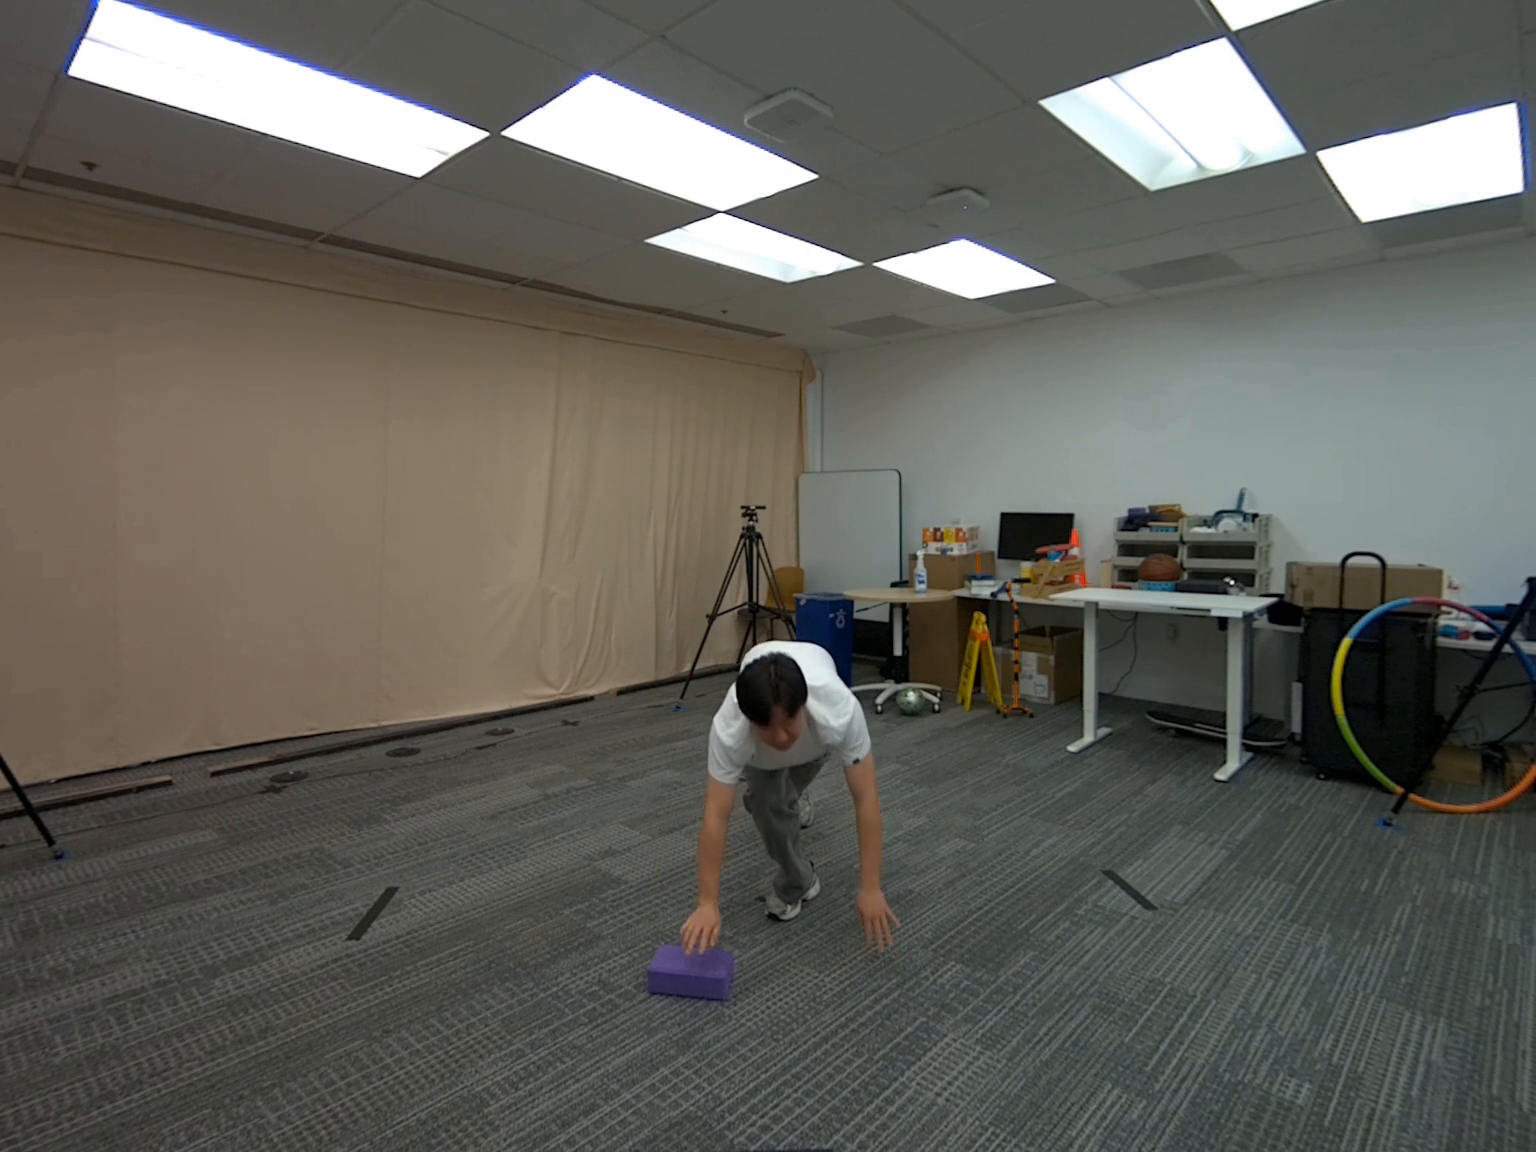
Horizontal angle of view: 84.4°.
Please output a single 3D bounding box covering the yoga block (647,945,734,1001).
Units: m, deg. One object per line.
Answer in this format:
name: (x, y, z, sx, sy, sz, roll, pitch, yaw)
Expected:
yoga block: (-0.215, 1.153, 2.446, 0.232, 0.076, 0.147, 1, 3, 11)
